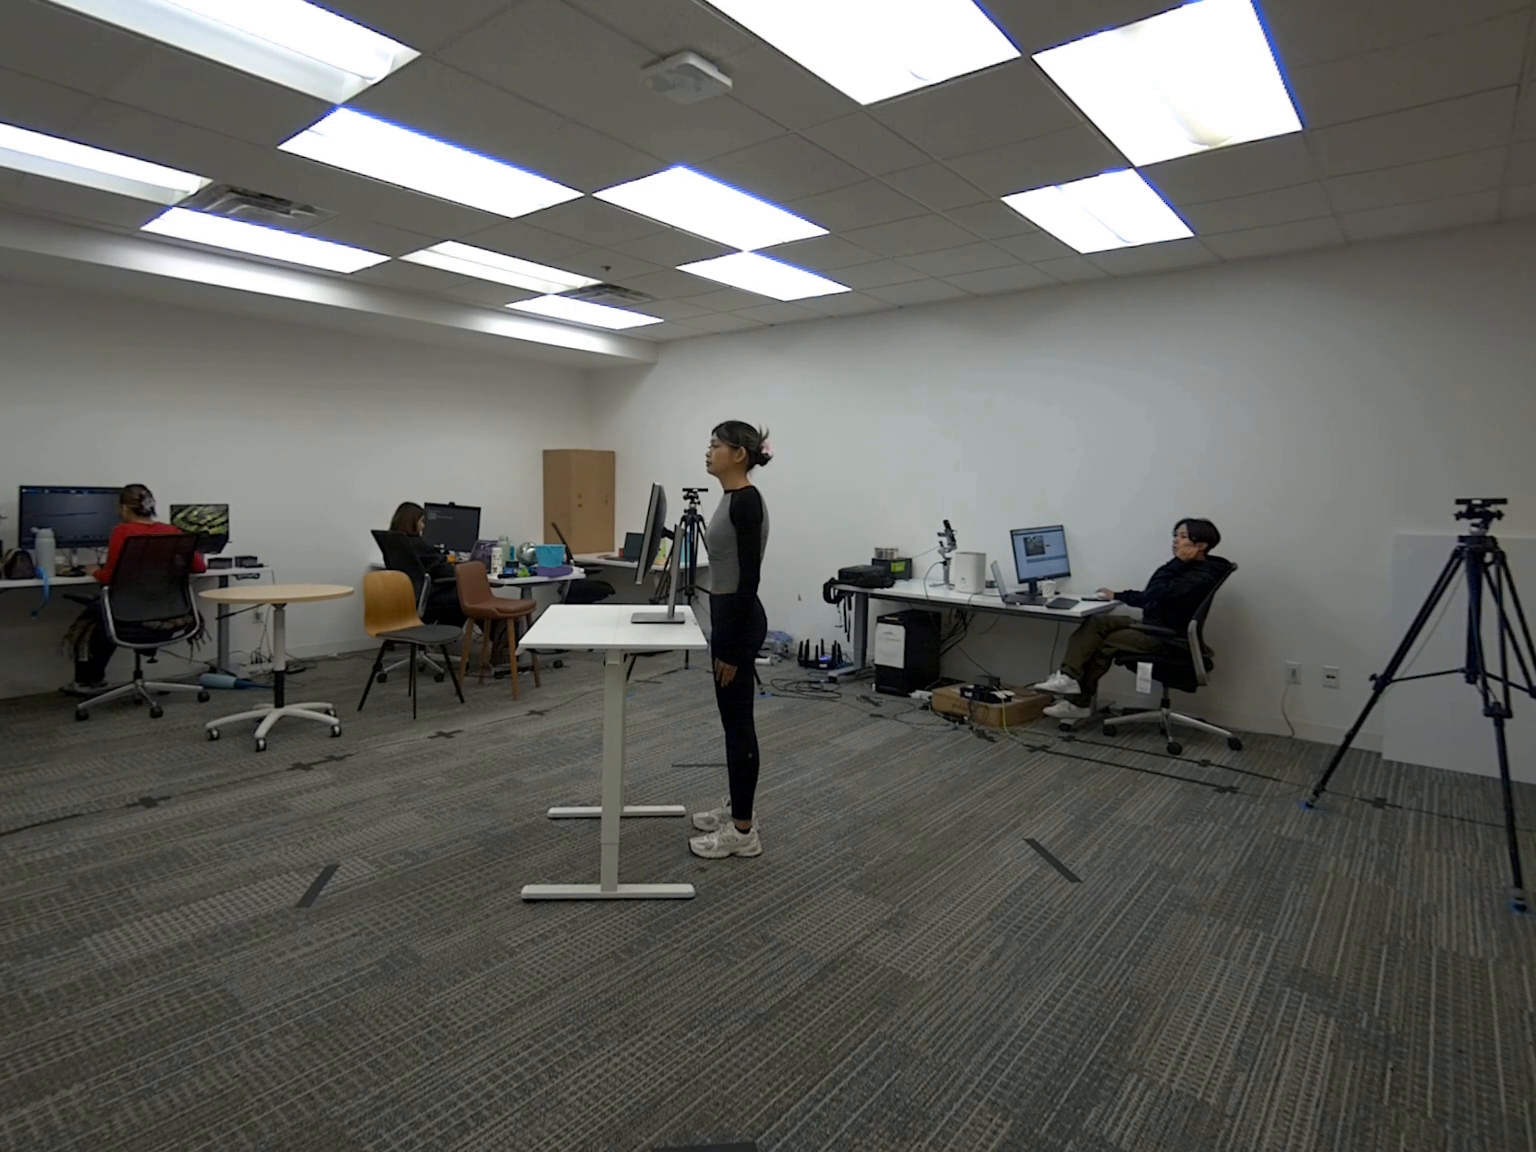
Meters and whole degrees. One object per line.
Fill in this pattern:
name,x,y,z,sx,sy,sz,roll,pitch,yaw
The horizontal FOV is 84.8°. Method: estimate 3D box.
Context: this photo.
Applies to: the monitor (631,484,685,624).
monitor,-0.429,-0.086,3.279,0.186,0.521,0.544,-1,3,-7
